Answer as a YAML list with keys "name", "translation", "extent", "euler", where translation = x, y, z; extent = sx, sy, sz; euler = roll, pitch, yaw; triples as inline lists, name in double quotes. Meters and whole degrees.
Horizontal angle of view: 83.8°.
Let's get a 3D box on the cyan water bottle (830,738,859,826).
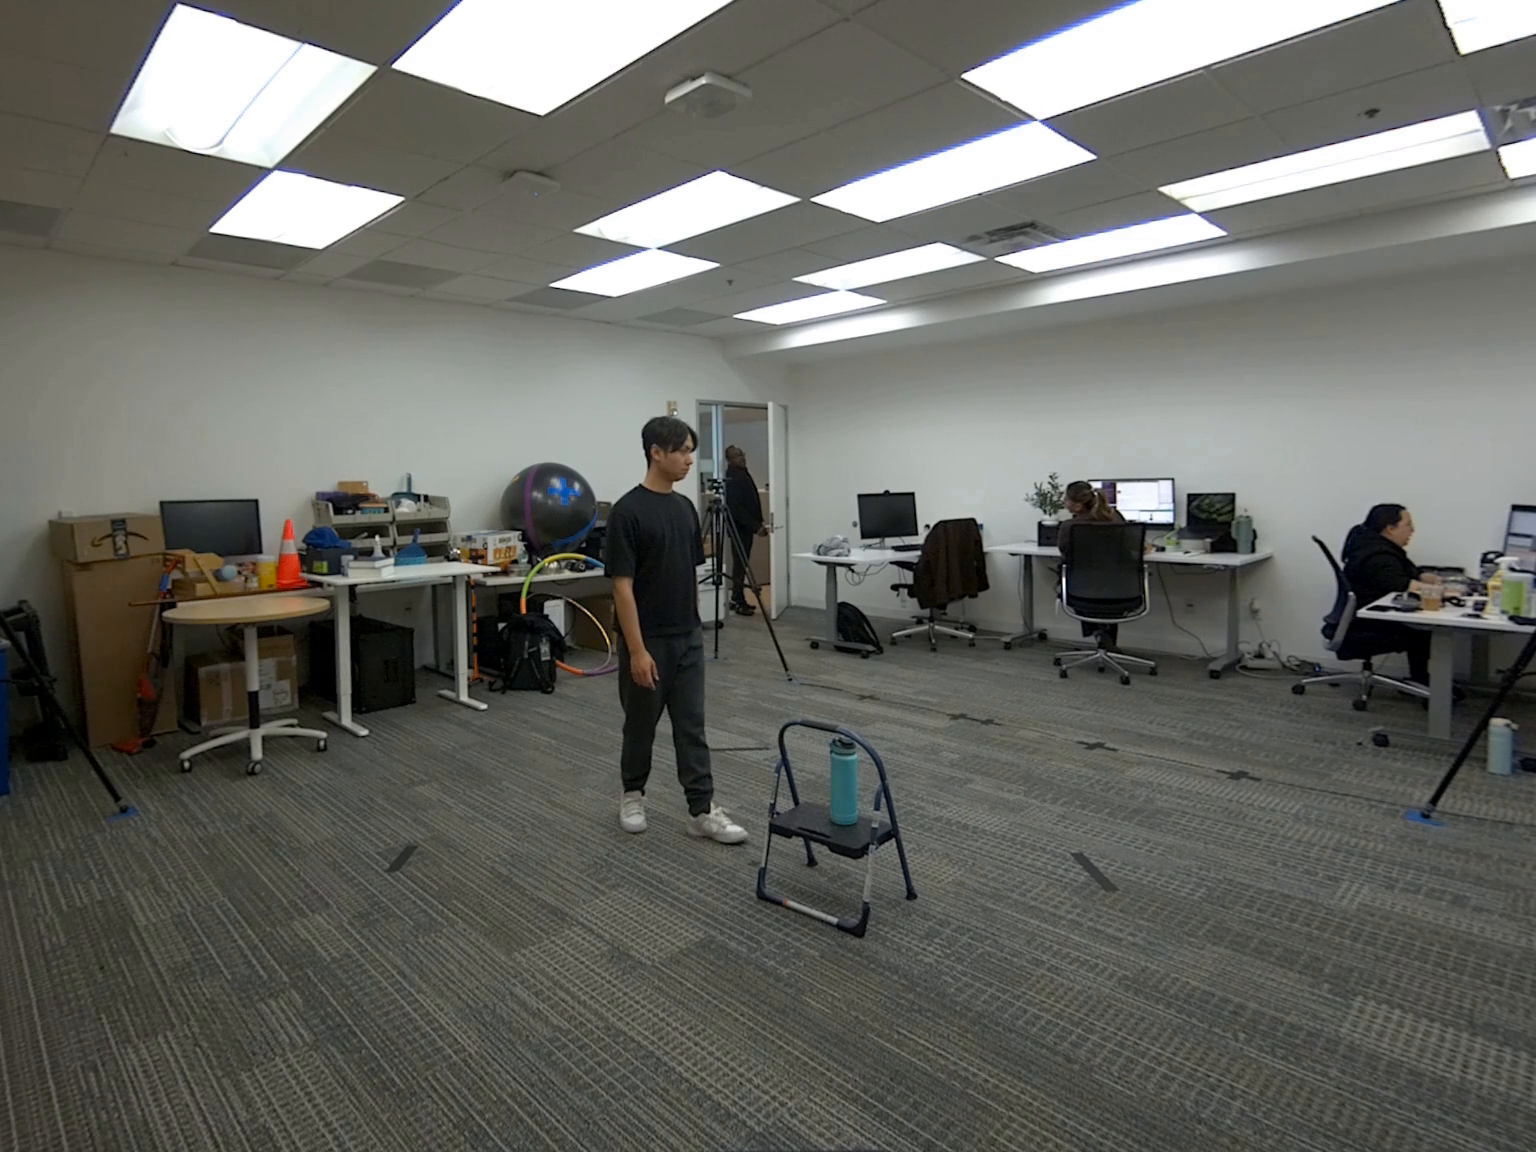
- name: "cyan water bottle"
  translation: [0.256, 0.670, 2.829]
  extent: [0.092, 0.282, 0.093]
  euler: [0, 4, -2]
